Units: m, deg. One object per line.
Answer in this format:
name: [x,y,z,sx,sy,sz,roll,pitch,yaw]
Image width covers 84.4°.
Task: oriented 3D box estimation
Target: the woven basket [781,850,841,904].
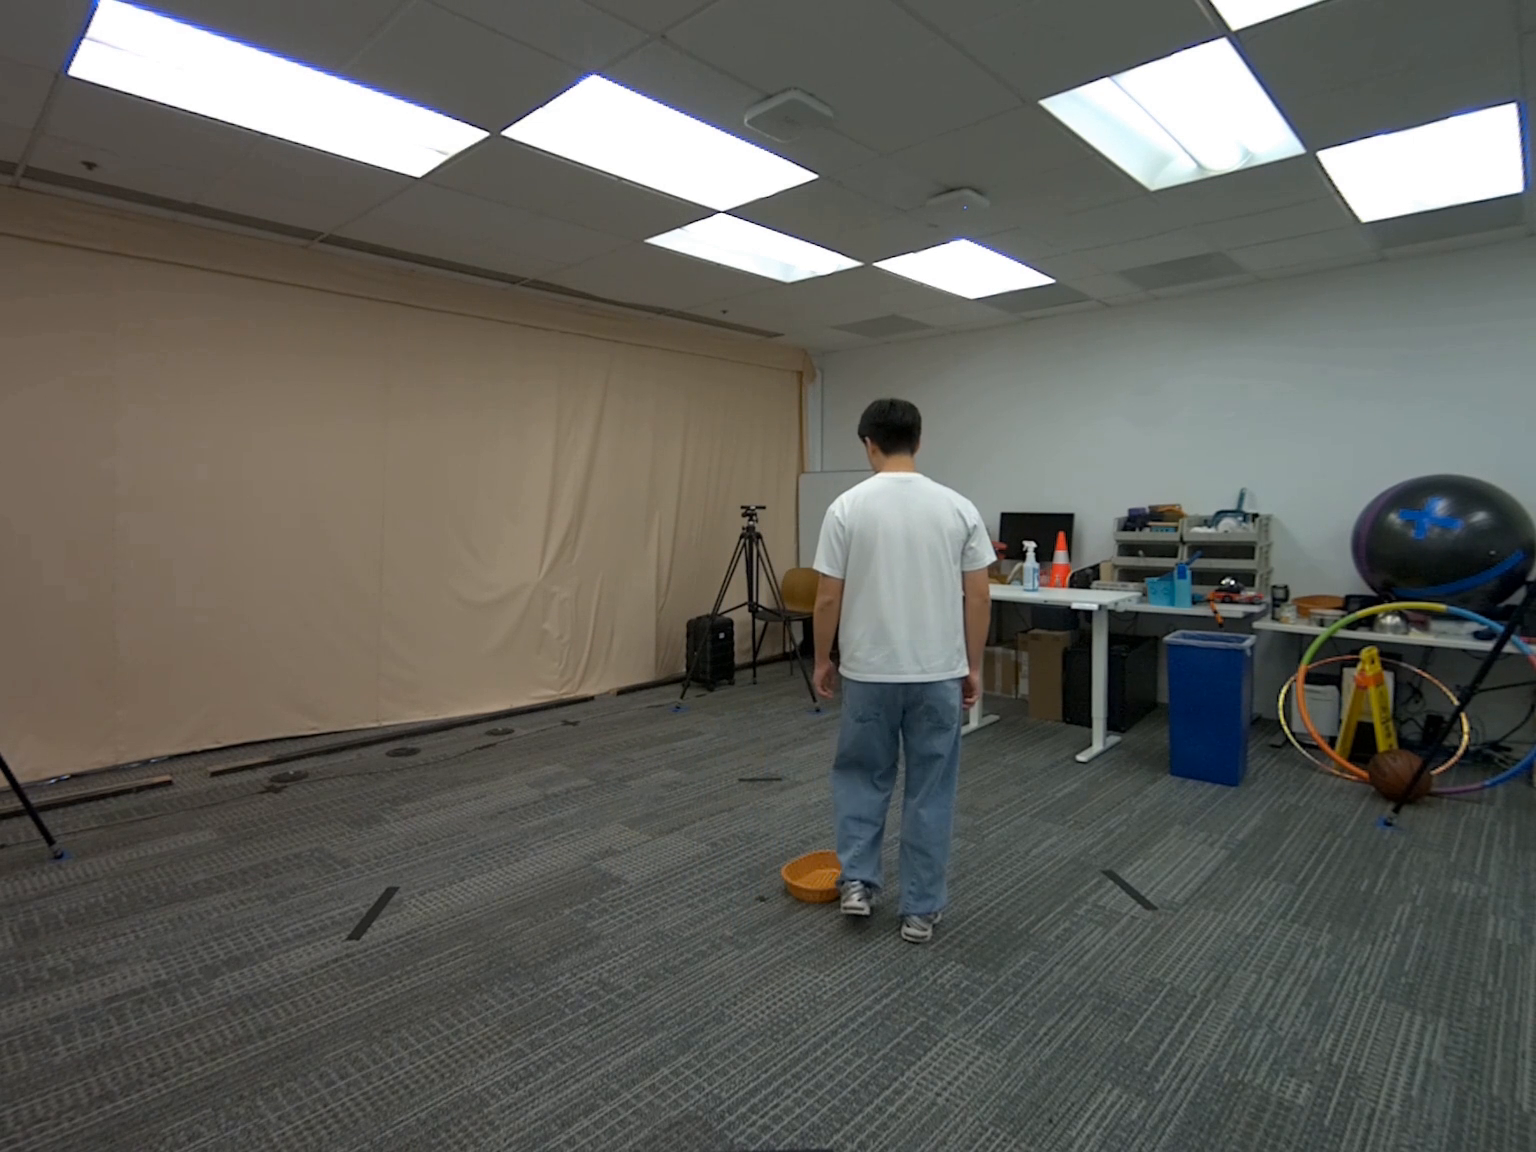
woven basket: [0.200,1.096,3.070,0.340,0.073,0.261,-5,7,-44]
